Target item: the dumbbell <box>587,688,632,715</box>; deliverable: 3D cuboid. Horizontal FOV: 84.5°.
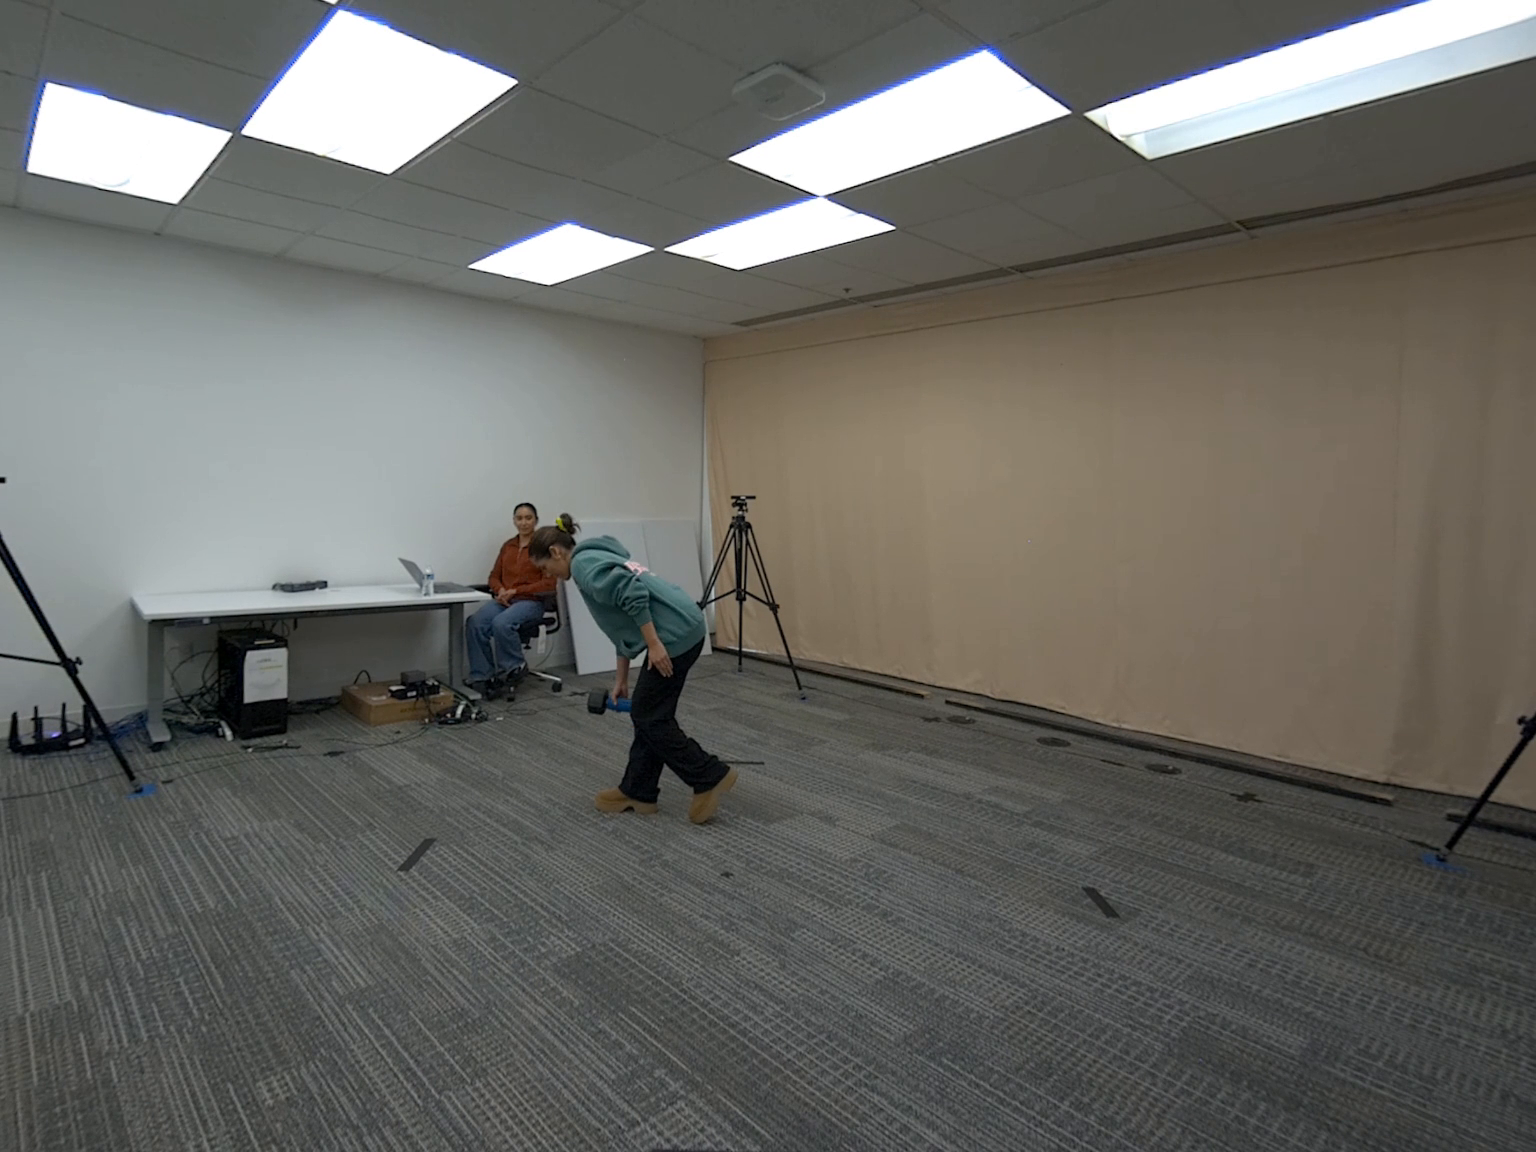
[{"bbox_3d":[-0.682,0.590,3.856,0.294,0.124,0.107,9,-14,3],"label":"dumbbell"}]
